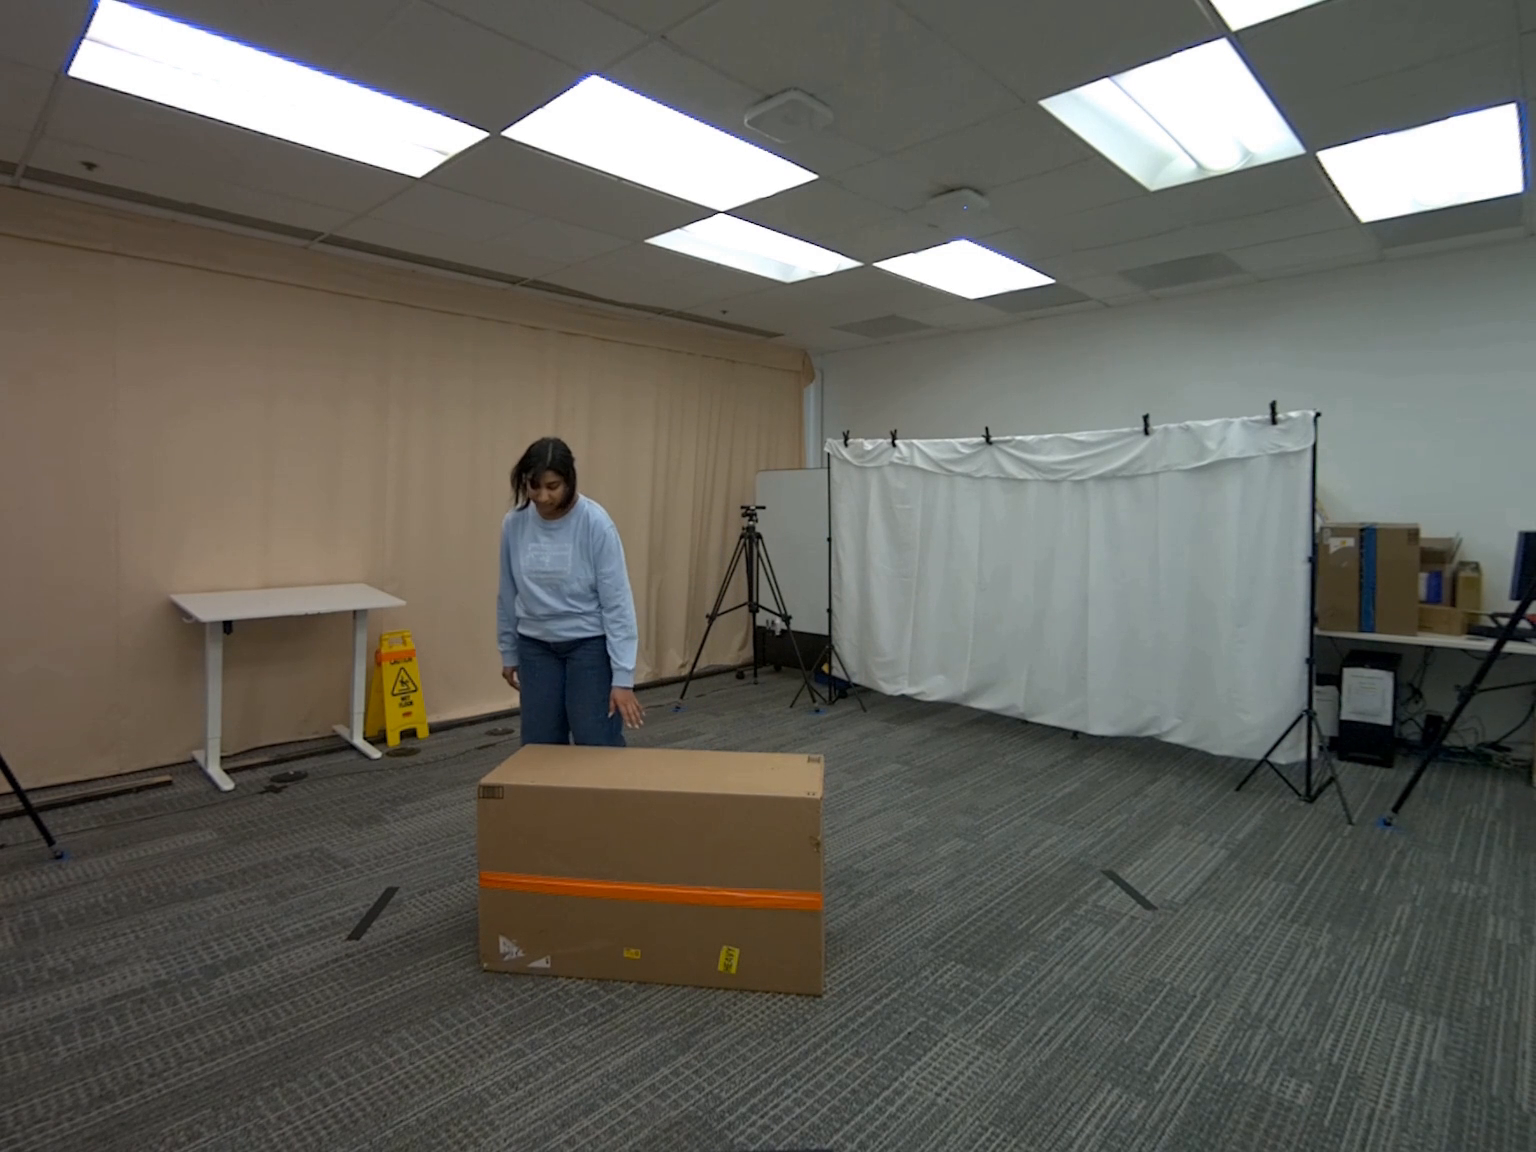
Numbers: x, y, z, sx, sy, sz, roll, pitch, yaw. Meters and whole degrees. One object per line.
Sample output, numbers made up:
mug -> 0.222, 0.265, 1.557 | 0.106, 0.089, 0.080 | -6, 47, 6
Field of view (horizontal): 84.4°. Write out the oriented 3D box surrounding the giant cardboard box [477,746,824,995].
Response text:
giant cardboard box -> -0.335, 0.882, 2.641 | 1.035, 0.576, 0.423 | 1, 4, 8
